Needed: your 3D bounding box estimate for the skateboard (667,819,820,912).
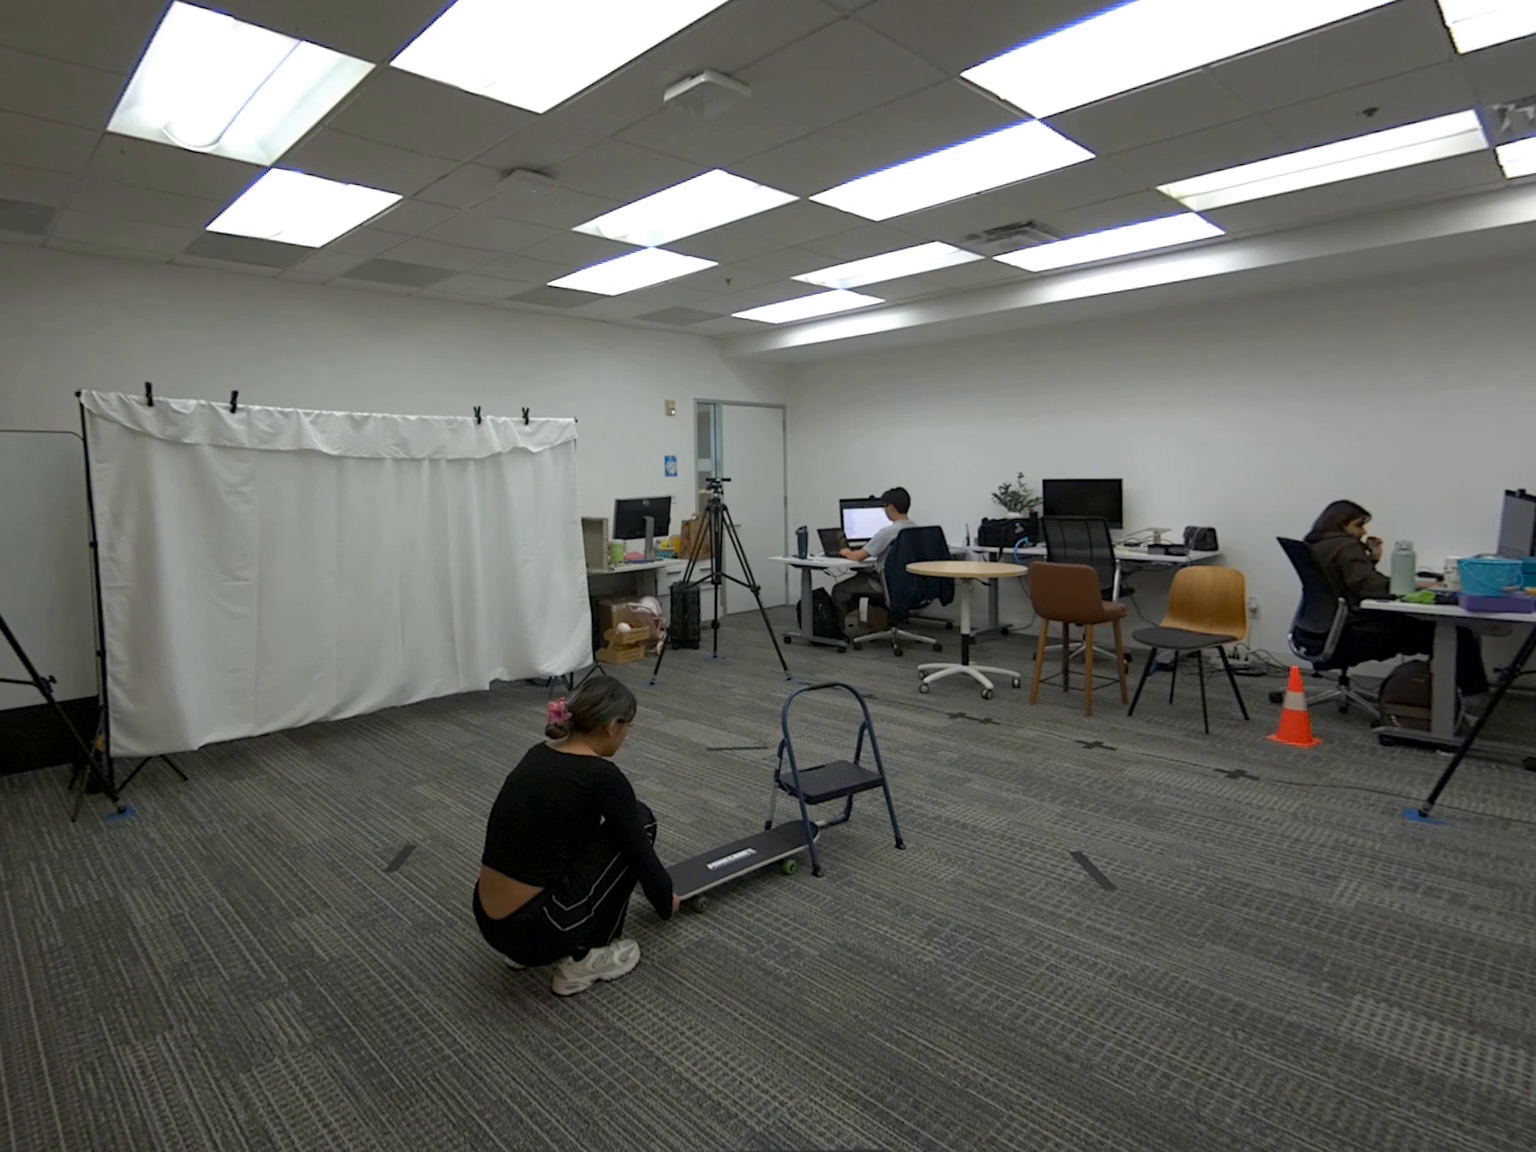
[{"bbox_3d":[-0.125,1.000,2.949,0.765,0.110,0.199,-7,8,-41],"label":"skateboard"}]
